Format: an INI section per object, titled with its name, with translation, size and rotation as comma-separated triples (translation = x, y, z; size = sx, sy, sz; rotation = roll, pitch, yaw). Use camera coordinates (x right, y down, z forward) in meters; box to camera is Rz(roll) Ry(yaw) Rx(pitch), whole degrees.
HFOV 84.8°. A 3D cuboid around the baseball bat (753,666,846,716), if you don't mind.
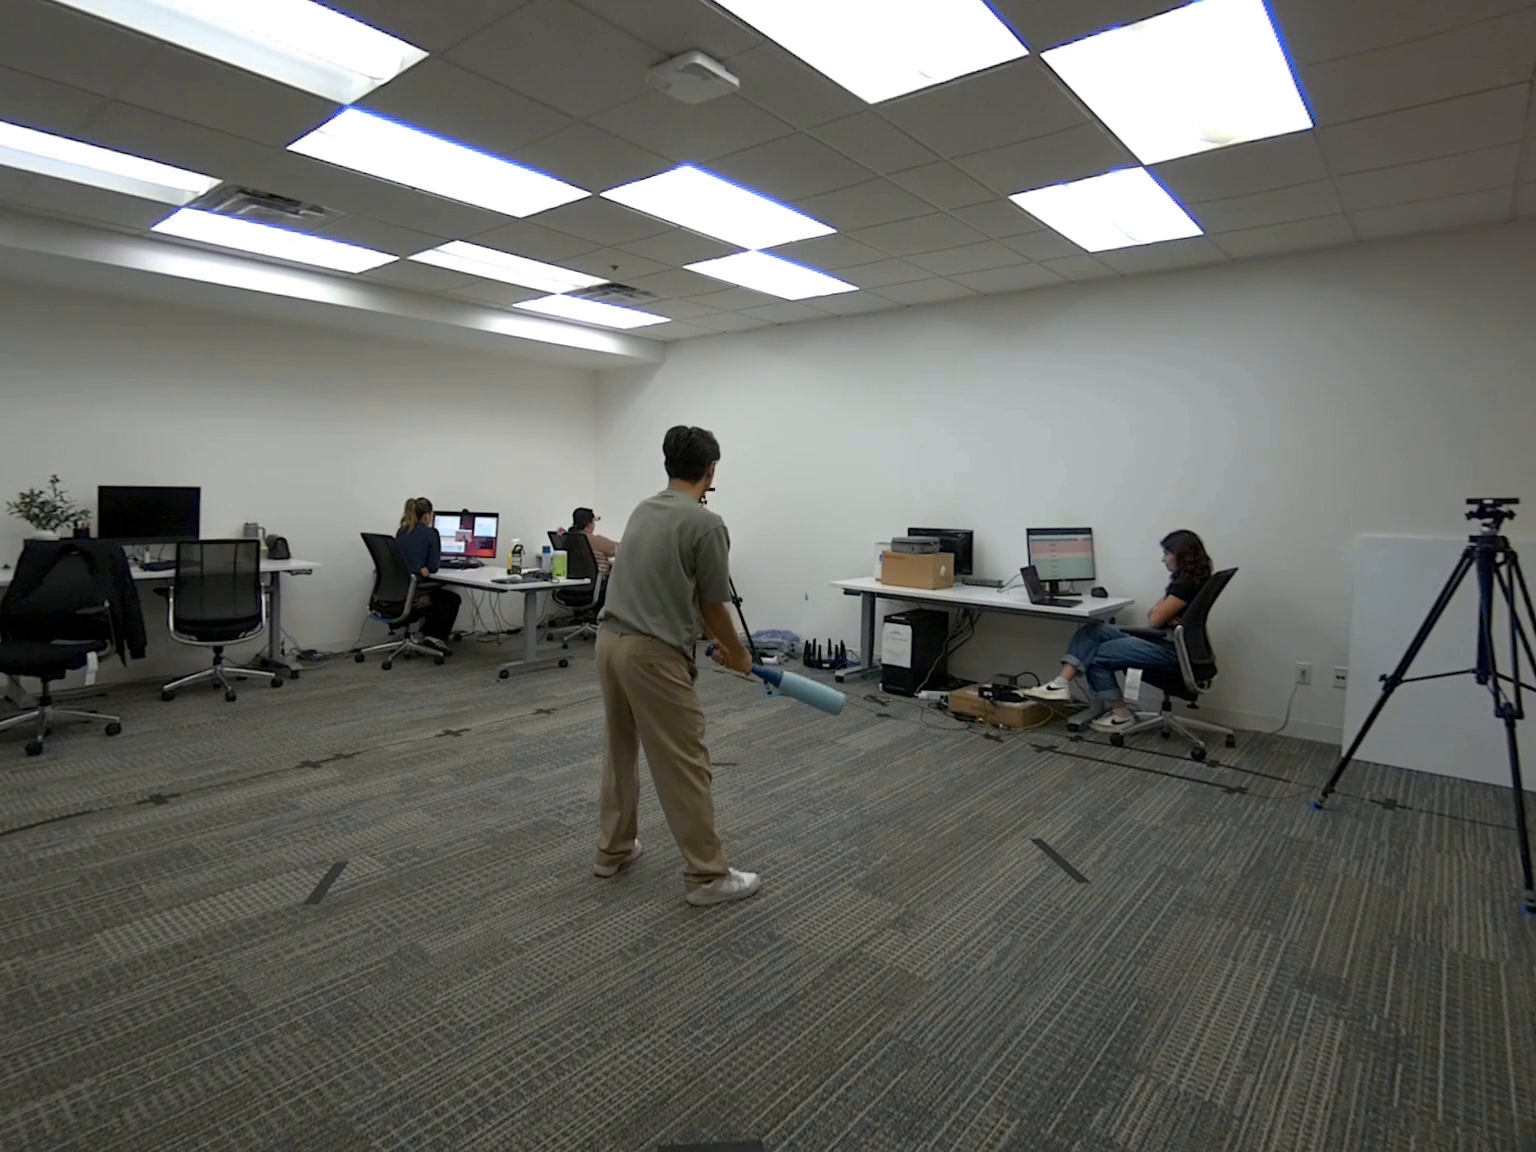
[baseball bat]
translation = 0.007, 0.366, 3.101
size = 0.540, 0.089, 0.089
rotation = 21, 2, -4
